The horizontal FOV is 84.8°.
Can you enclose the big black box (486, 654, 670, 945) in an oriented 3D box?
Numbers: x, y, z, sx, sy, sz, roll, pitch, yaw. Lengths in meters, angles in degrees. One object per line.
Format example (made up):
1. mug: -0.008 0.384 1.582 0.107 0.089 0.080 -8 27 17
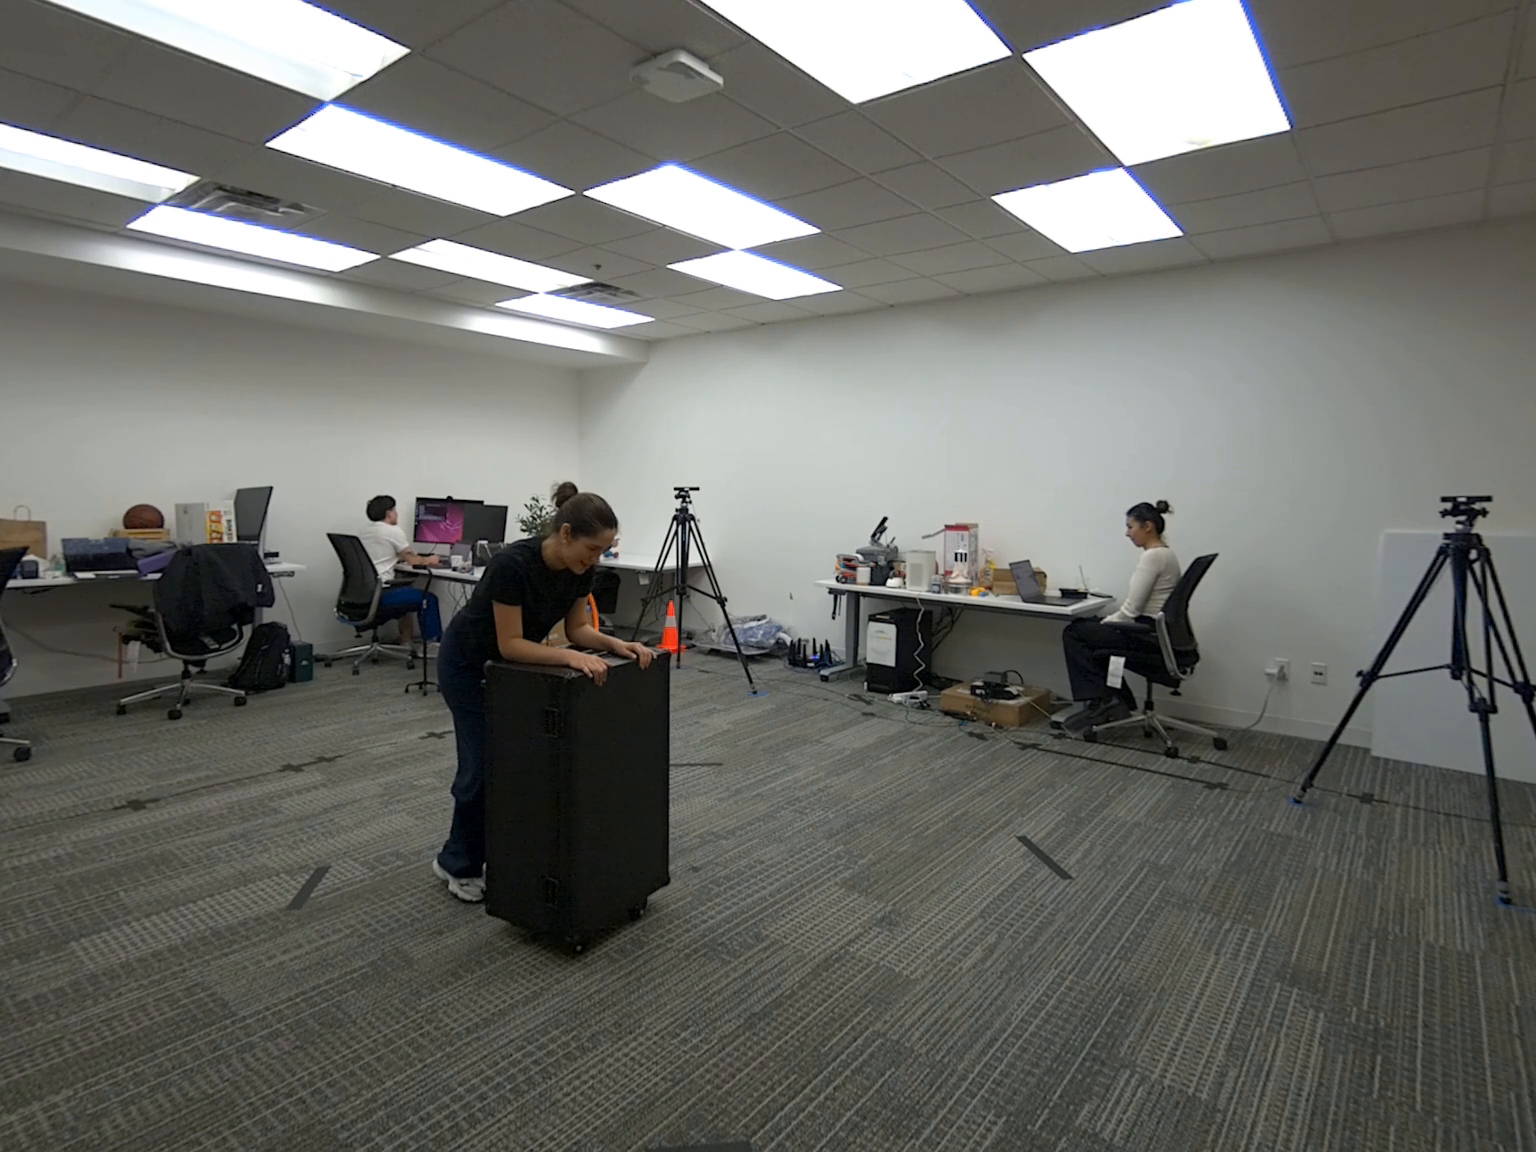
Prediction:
1. big black box: -0.595 0.616 2.726 0.408 0.858 0.507 3 5 32
